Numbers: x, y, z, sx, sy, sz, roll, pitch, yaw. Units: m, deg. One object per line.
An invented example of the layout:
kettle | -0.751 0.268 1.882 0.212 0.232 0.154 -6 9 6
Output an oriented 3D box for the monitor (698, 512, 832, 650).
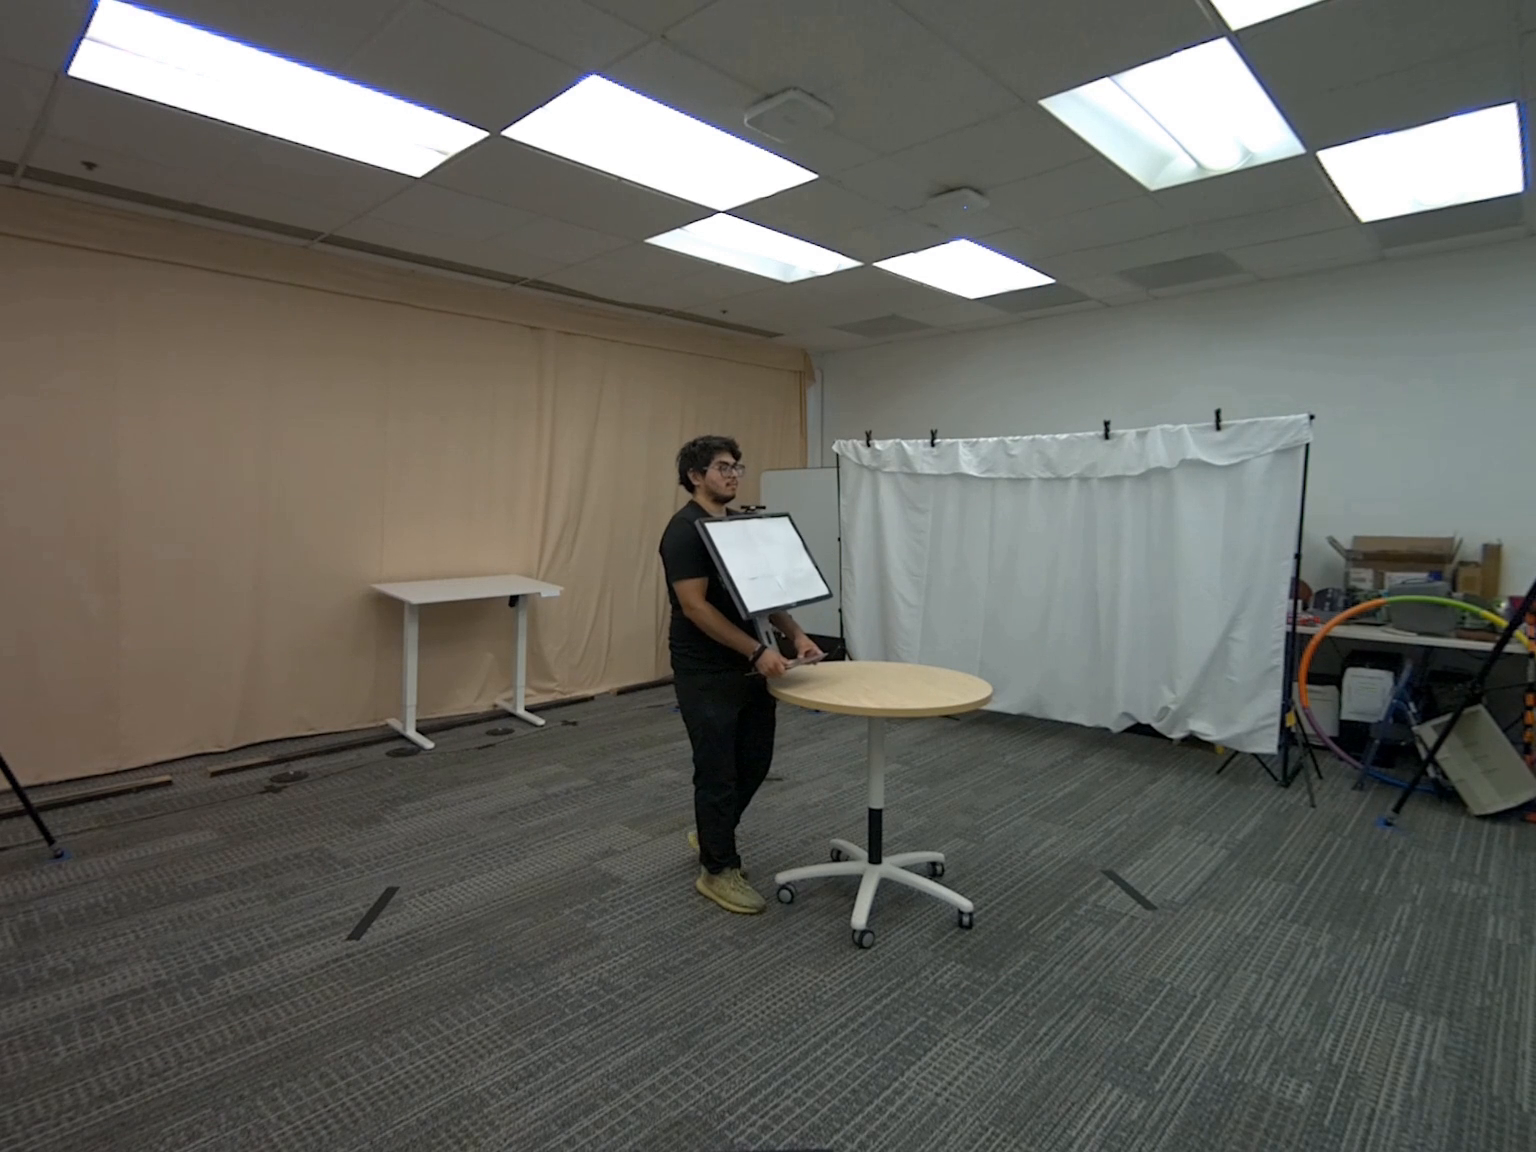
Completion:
monitor | -0.013 0.060 2.926 0.214 0.559 0.550 -28 -11 33
